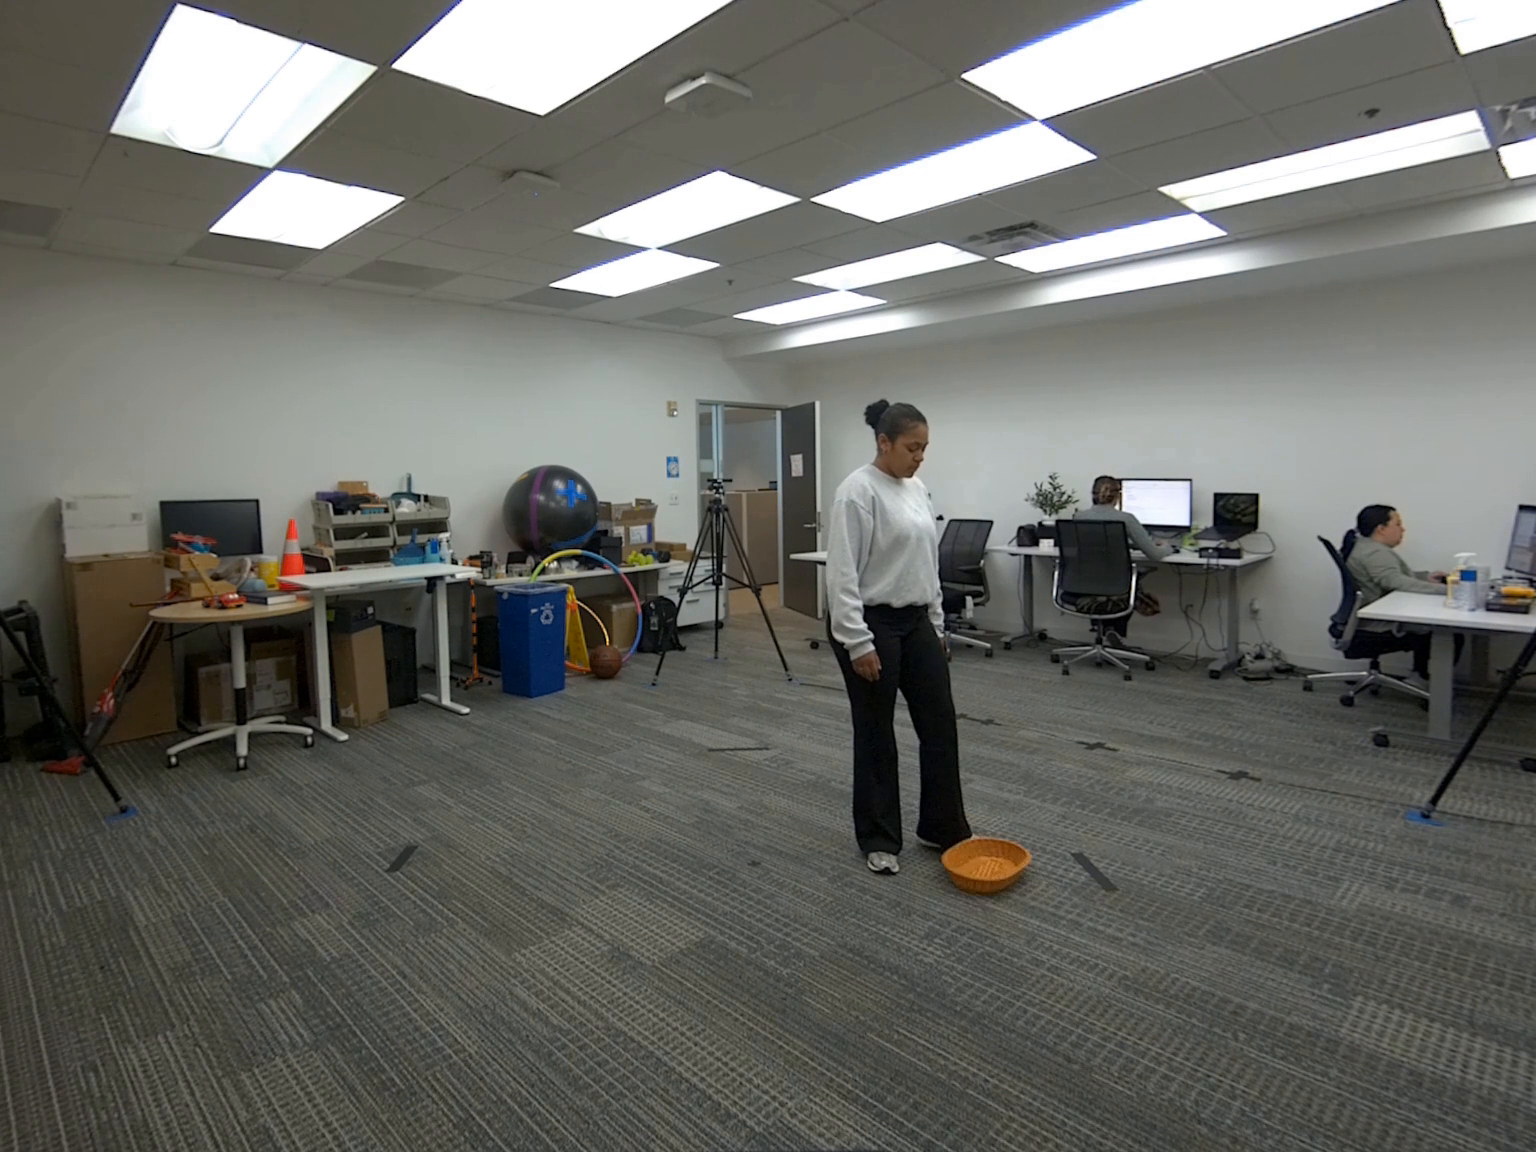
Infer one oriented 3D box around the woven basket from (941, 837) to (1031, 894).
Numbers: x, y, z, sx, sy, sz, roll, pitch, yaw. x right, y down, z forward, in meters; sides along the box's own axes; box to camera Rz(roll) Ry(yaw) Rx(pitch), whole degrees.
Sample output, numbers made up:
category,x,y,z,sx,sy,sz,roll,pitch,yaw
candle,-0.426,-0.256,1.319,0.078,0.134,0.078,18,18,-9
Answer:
category,x,y,z,sx,sy,sz,roll,pitch,yaw
woven basket,0.752,1.007,2.962,0.341,0.073,0.260,-8,10,-43
